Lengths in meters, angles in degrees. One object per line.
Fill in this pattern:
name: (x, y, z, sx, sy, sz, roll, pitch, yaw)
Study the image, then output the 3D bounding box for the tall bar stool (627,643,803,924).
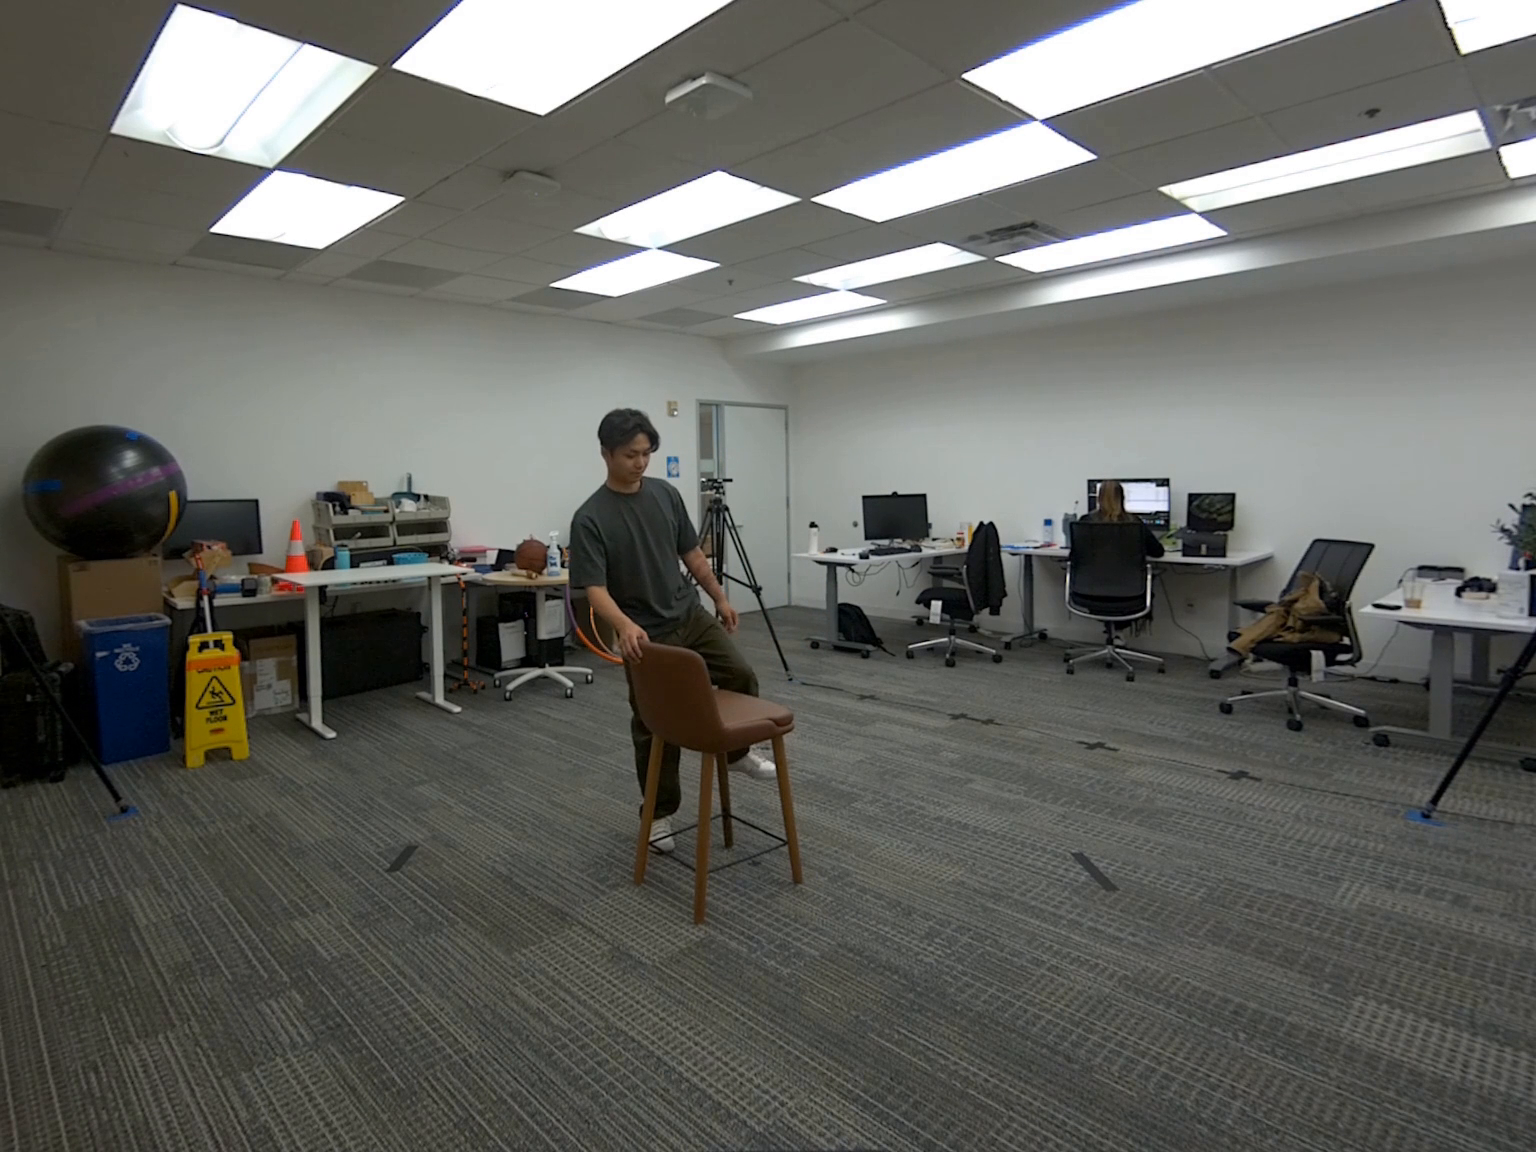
tall bar stool: (-0.189, 0.633, 2.934, 0.456, 0.885, 0.470, -6, 7, -40)
